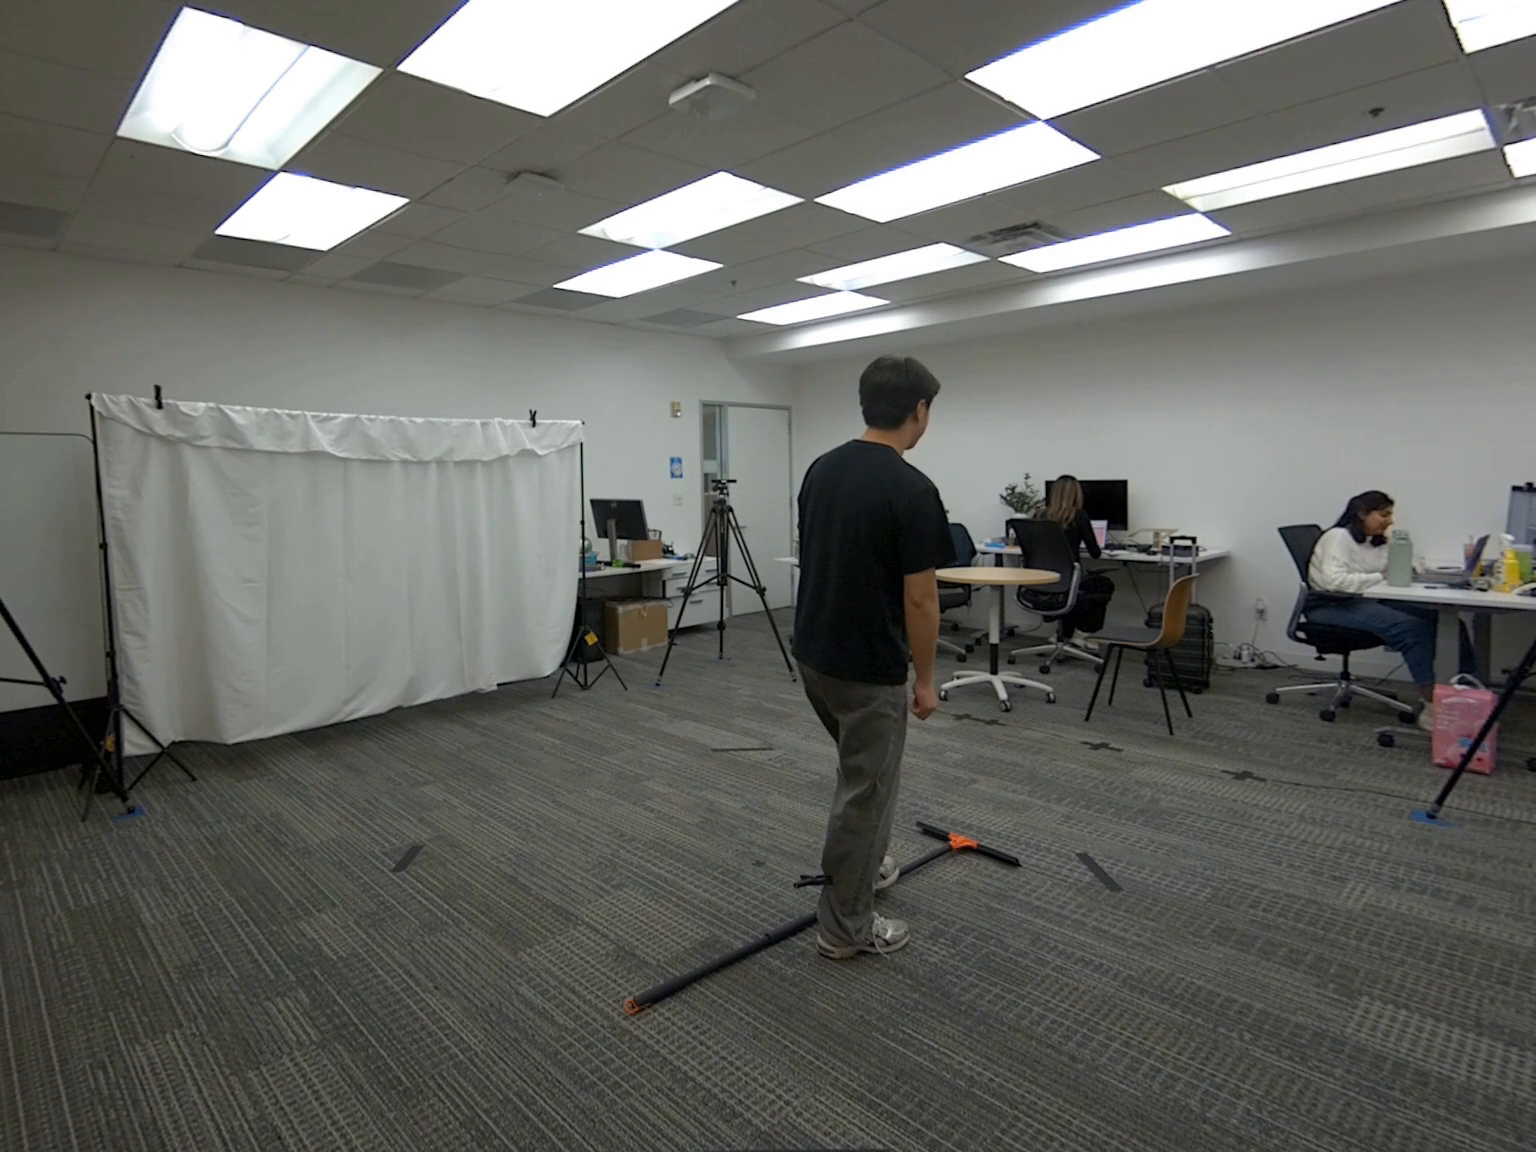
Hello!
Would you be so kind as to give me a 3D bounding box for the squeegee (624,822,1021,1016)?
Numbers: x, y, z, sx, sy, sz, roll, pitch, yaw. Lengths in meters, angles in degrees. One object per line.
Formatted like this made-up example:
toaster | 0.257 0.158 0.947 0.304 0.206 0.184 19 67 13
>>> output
squeegee | 0.202 1.051 2.732 1.499 0.053 0.450 -8 8 -40
